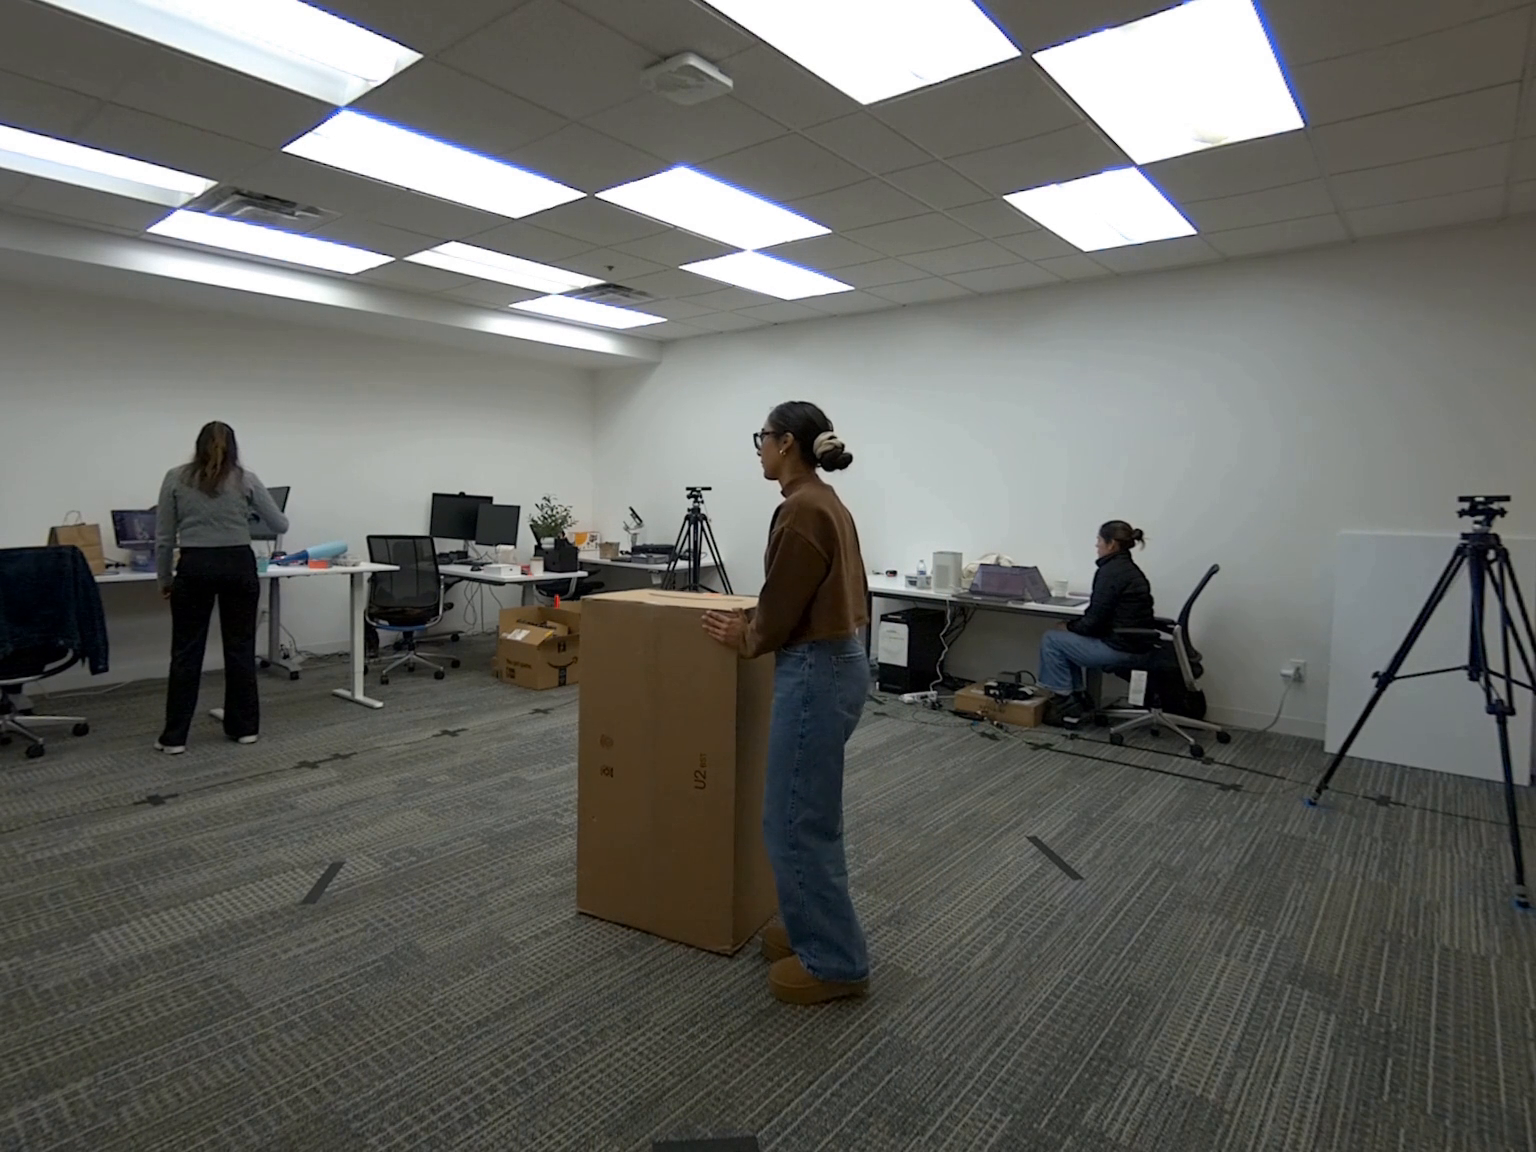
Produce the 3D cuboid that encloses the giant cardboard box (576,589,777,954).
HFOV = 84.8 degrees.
[{"bbox_3d":[-0.283,0.584,2.815,0.593,1.025,0.415,2,2,26],"label":"giant cardboard box"}]
